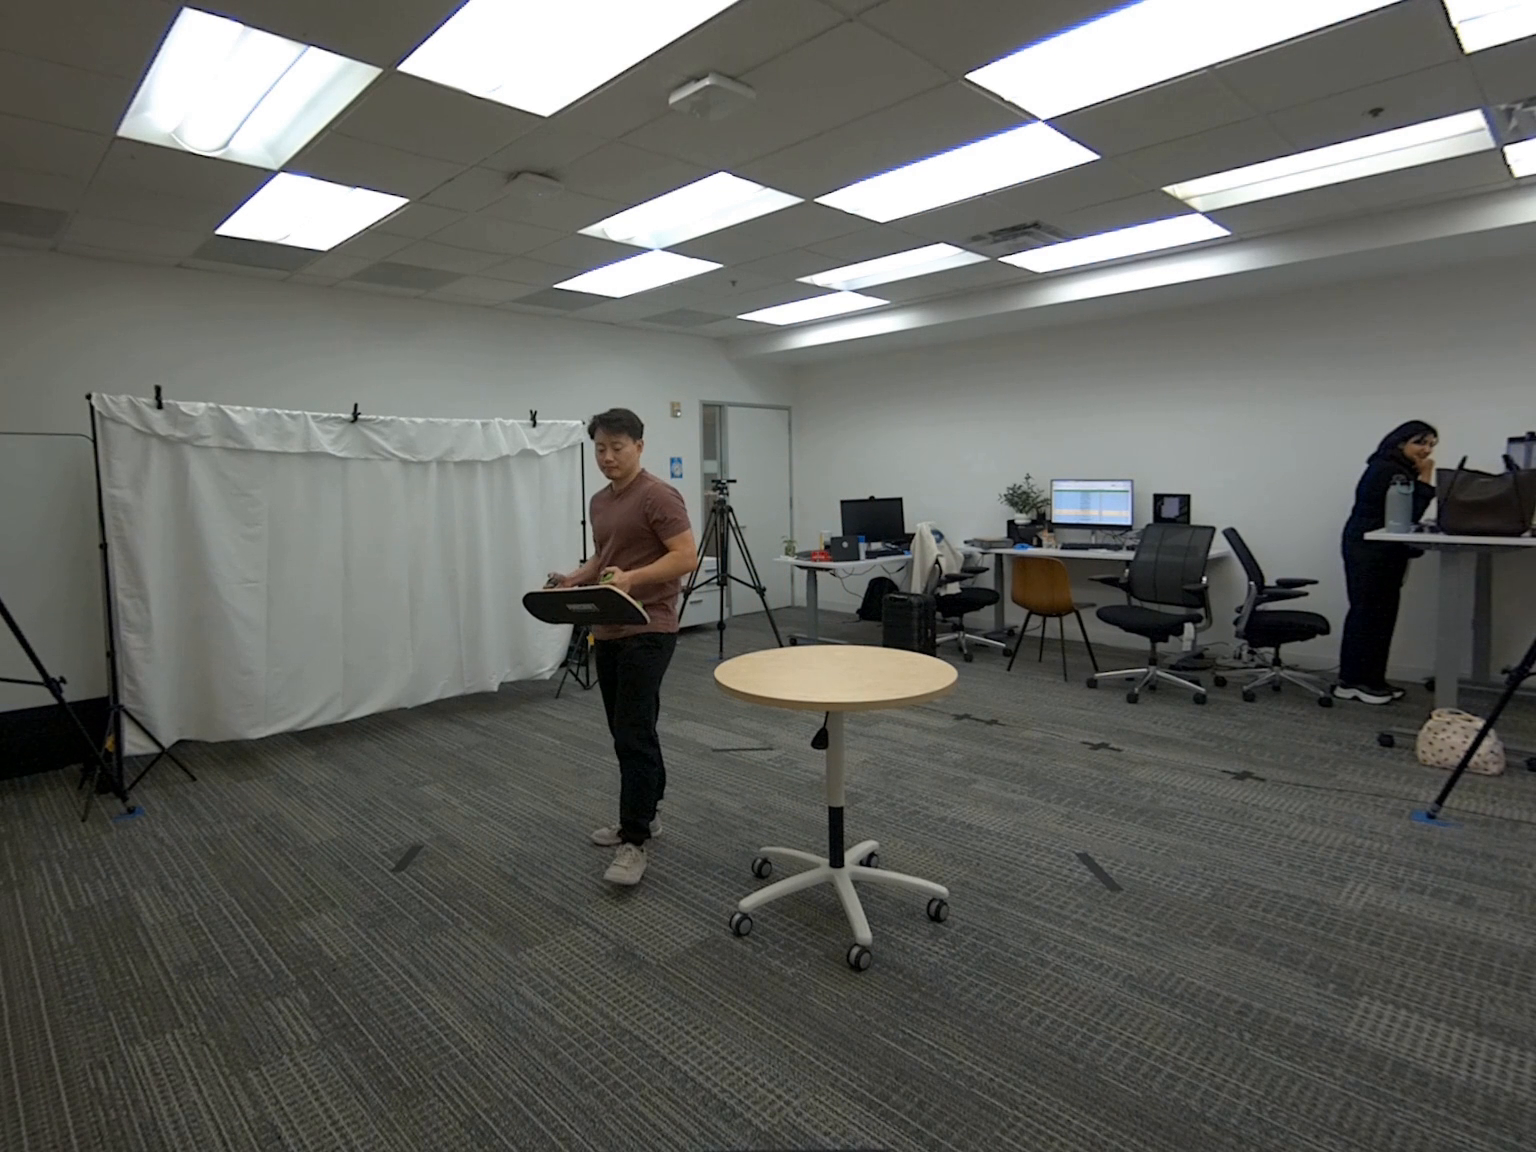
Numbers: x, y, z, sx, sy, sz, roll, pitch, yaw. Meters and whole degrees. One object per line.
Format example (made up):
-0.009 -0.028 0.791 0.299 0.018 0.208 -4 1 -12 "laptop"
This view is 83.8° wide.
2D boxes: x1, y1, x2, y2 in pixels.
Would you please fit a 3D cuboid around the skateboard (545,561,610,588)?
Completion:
-0.671 0.092 3.128 0.806 0.111 0.187 -2 -43 50 "skateboard"
